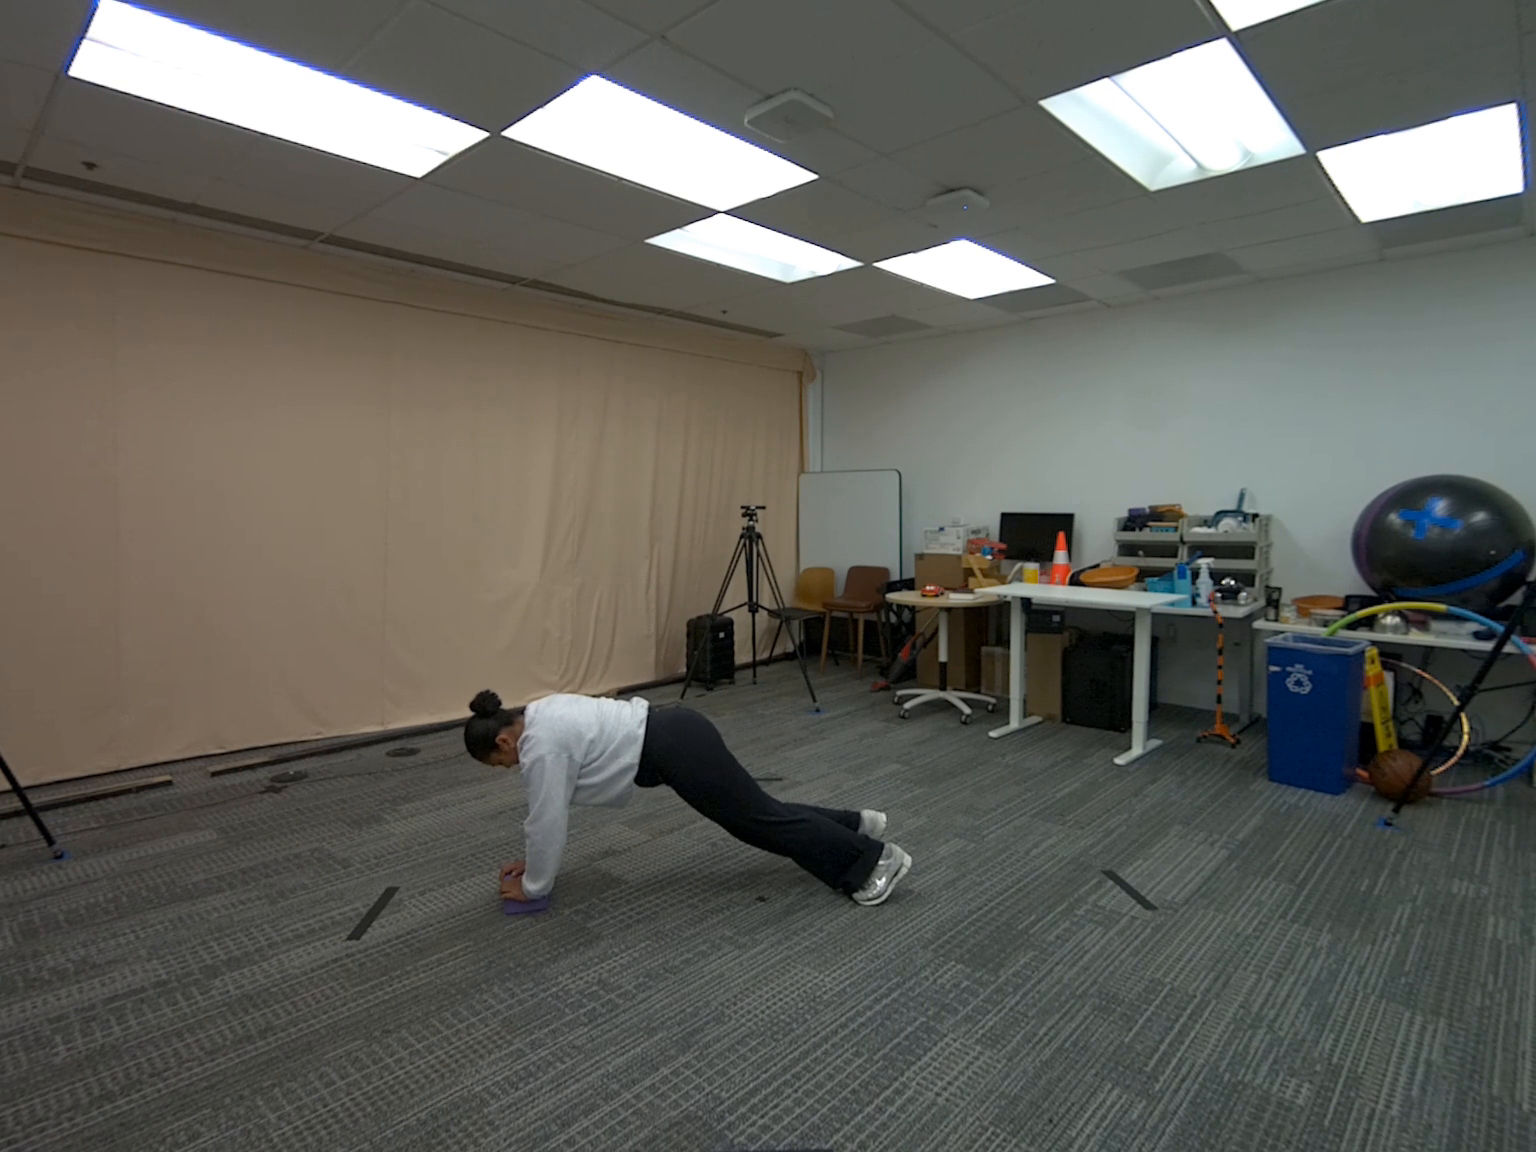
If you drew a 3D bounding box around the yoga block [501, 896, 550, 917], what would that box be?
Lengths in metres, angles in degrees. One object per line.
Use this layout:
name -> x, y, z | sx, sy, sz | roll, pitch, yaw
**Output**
yoga block -> -0.867, 1.123, 2.999 | 0.147, 0.076, 0.233 | -3, 5, -16
